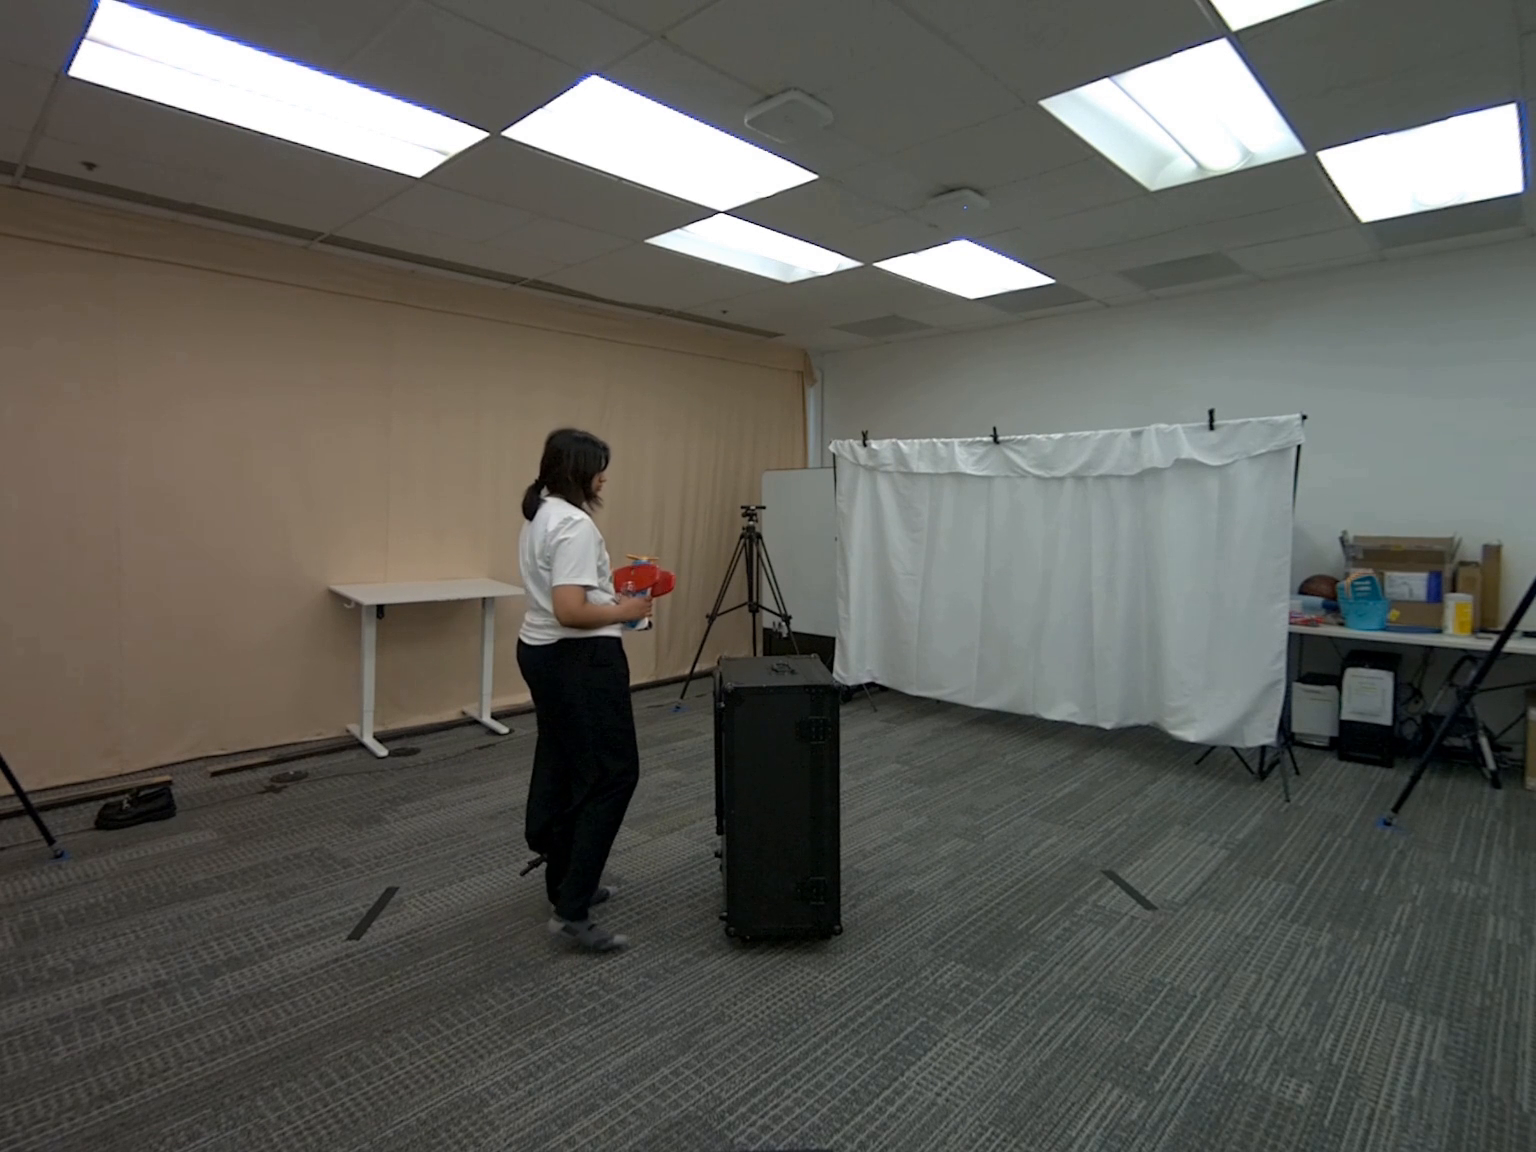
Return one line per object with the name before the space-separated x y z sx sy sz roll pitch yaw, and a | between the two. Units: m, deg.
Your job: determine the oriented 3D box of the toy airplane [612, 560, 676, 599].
toy airplane | -0.428 0.062 2.938 0.254 0.265 0.151 -31 -51 22
